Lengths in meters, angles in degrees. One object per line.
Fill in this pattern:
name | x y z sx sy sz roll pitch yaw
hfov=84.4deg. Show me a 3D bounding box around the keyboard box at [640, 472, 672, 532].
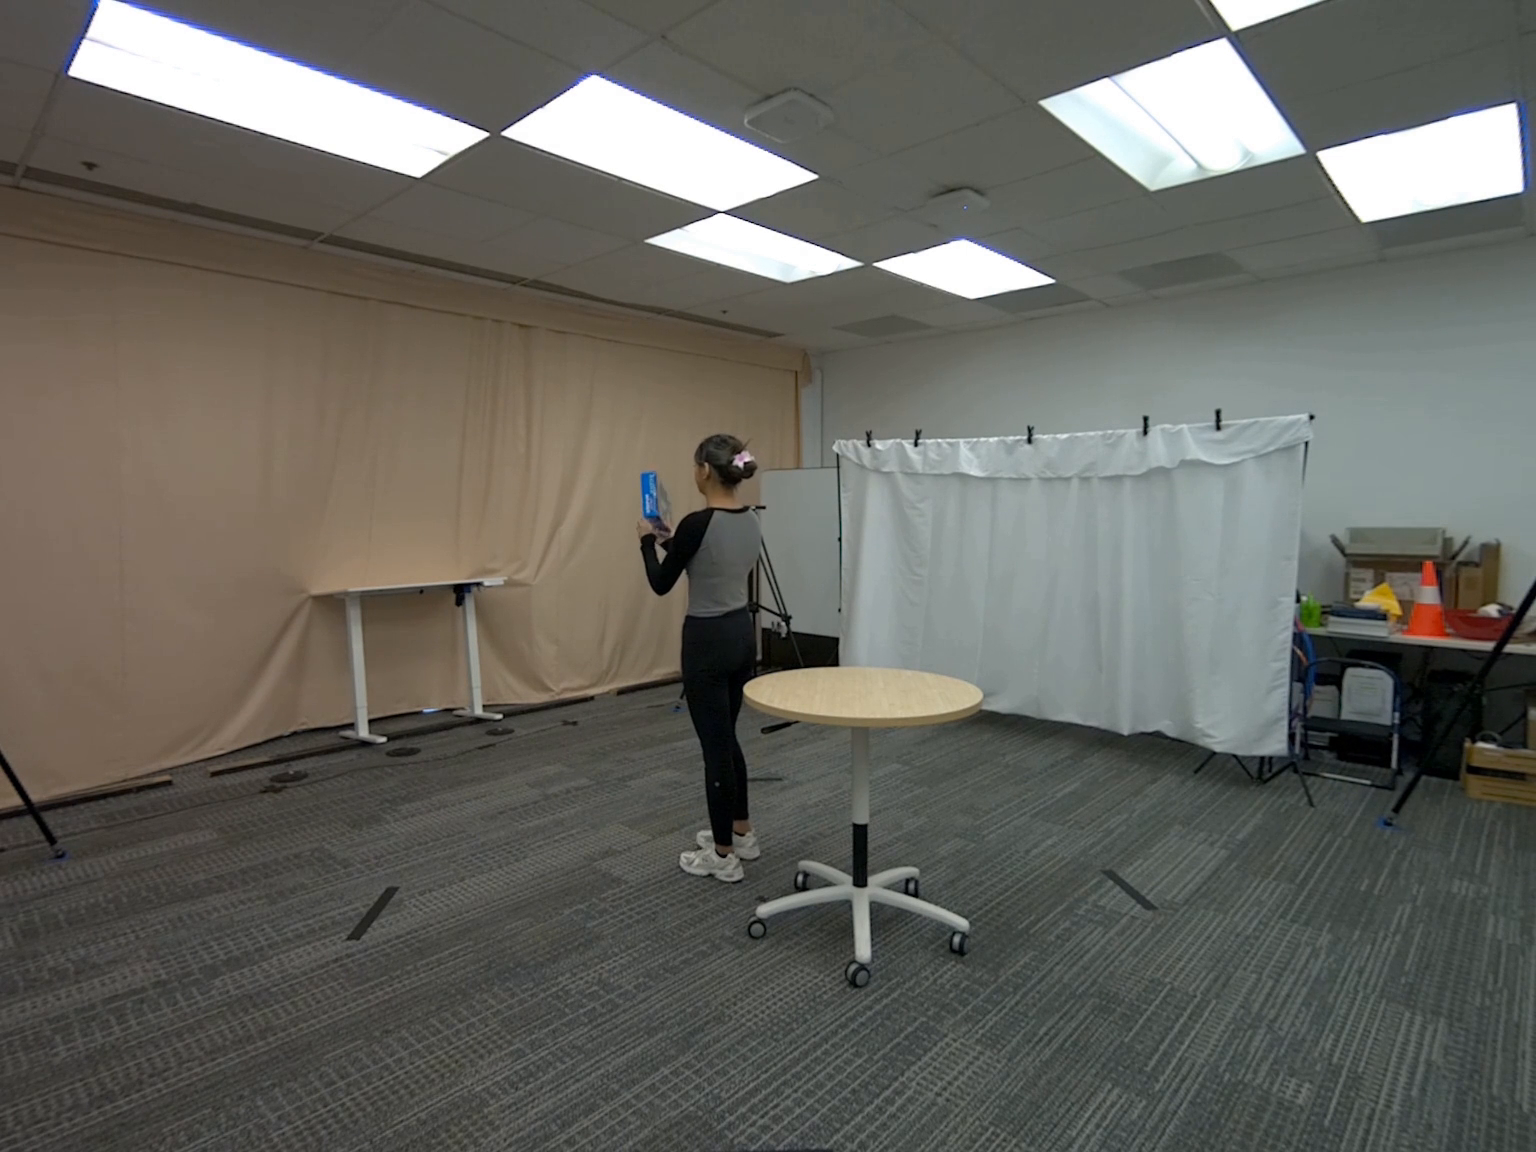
keyboard box | -0.446 -0.286 3.420 0.059 0.177 0.433 -6 -7 0
